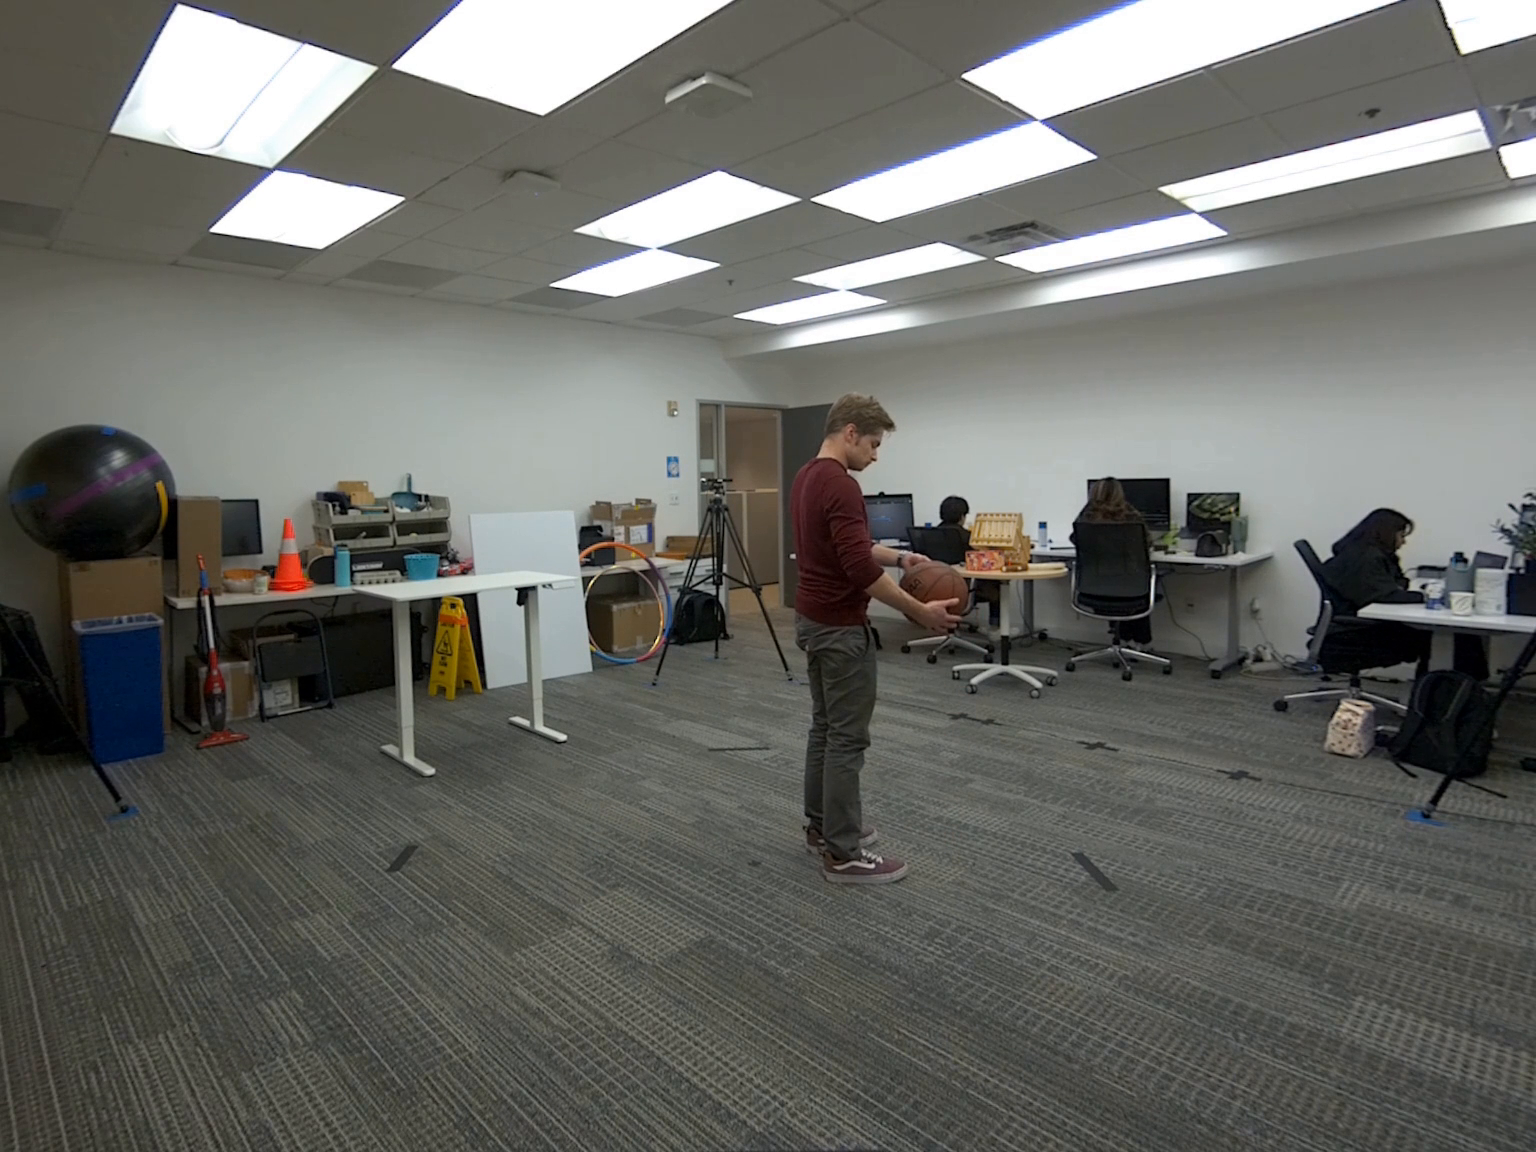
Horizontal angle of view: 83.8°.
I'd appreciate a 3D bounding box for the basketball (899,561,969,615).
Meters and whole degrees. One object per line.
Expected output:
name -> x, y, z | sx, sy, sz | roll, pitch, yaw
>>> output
basketball -> 0.561, 0.063, 2.952 | 0.236, 0.235, 0.237 | -1, 5, -2
